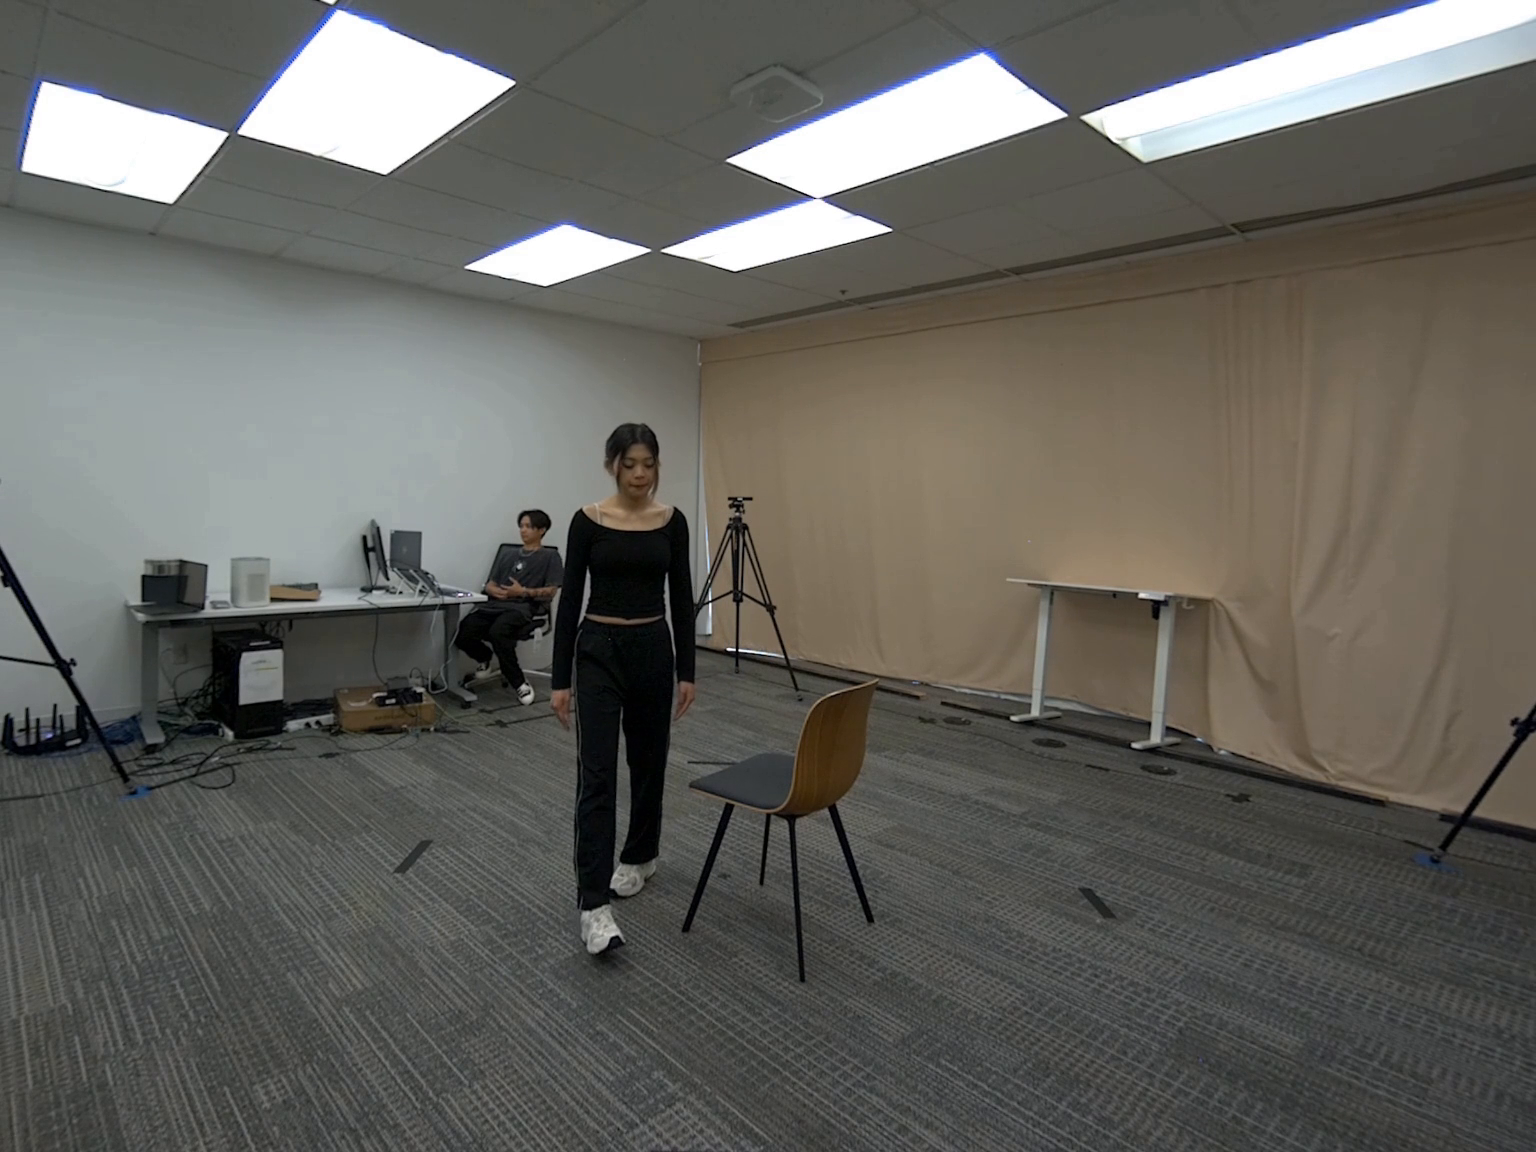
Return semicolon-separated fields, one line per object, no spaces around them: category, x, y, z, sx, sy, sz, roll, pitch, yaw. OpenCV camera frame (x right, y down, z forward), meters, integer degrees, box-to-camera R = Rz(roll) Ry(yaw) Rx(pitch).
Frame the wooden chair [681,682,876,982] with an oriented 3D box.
wooden chair;0.035;0.718;2.714;0.536;0.874;0.468;9;8;35
